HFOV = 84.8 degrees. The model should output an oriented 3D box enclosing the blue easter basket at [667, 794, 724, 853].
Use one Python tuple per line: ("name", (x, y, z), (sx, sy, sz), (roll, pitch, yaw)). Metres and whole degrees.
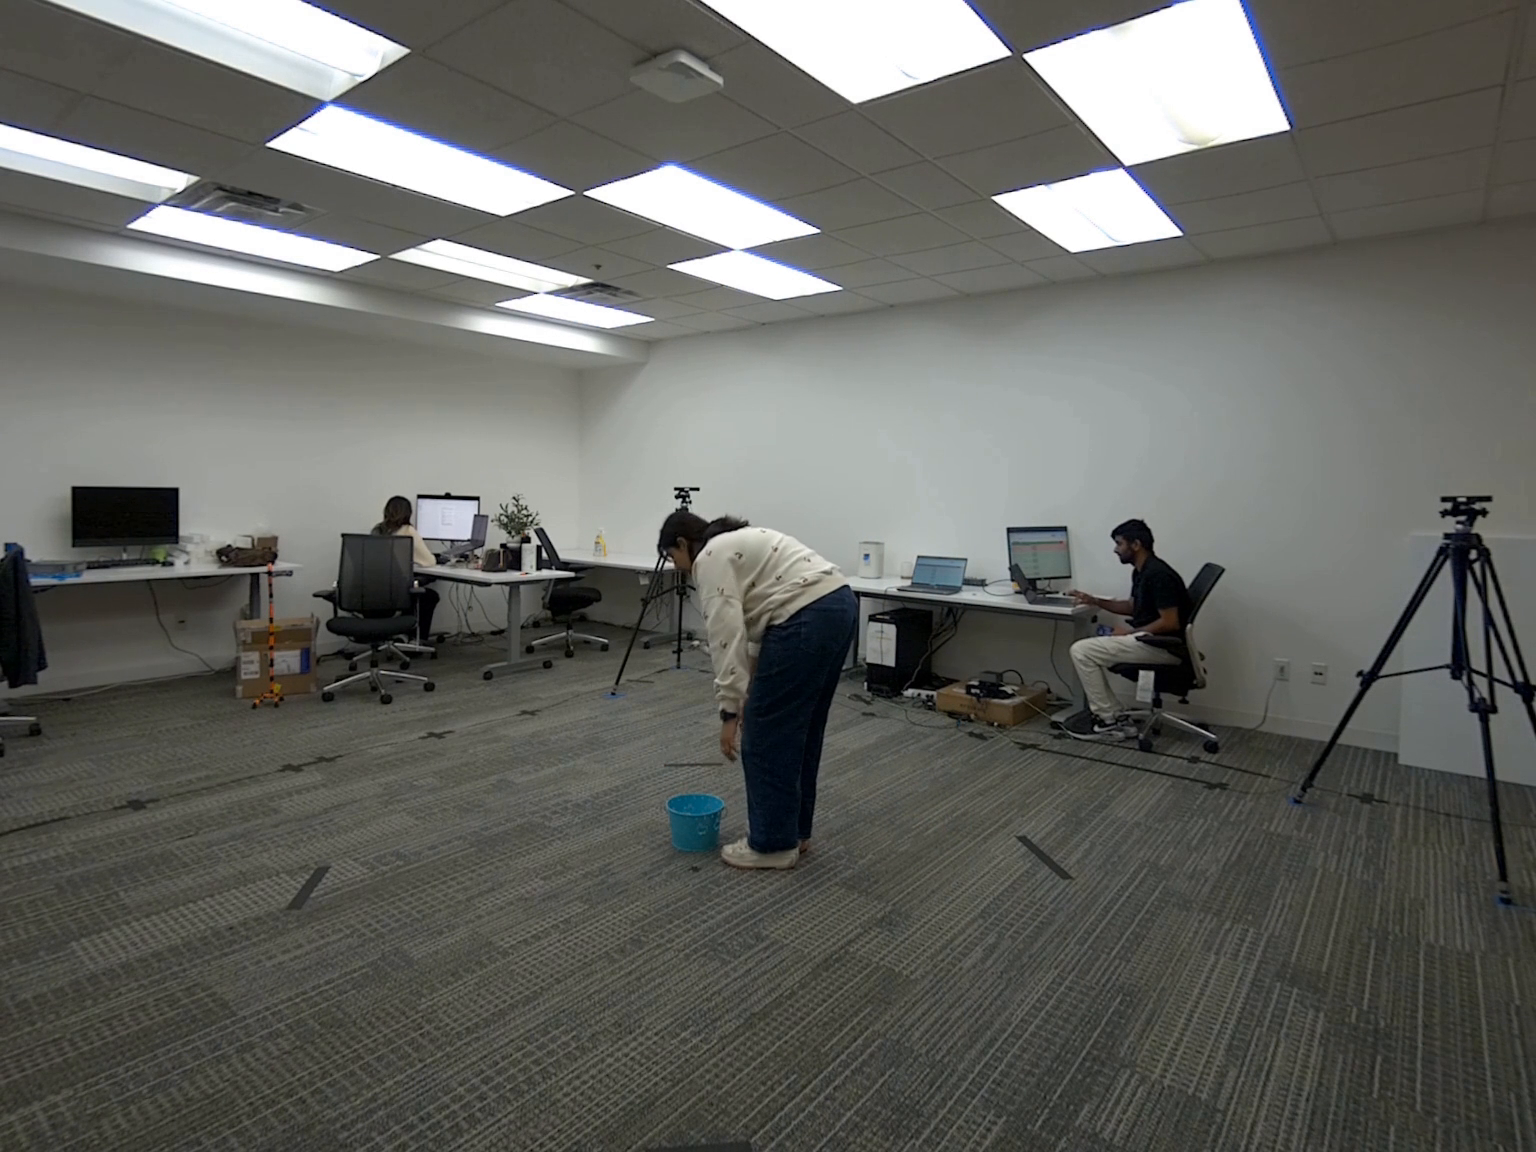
("blue easter basket", (-0.294, 0.963, 3.345), (0.243, 0.155, 0.245), (0, 5, -2))
